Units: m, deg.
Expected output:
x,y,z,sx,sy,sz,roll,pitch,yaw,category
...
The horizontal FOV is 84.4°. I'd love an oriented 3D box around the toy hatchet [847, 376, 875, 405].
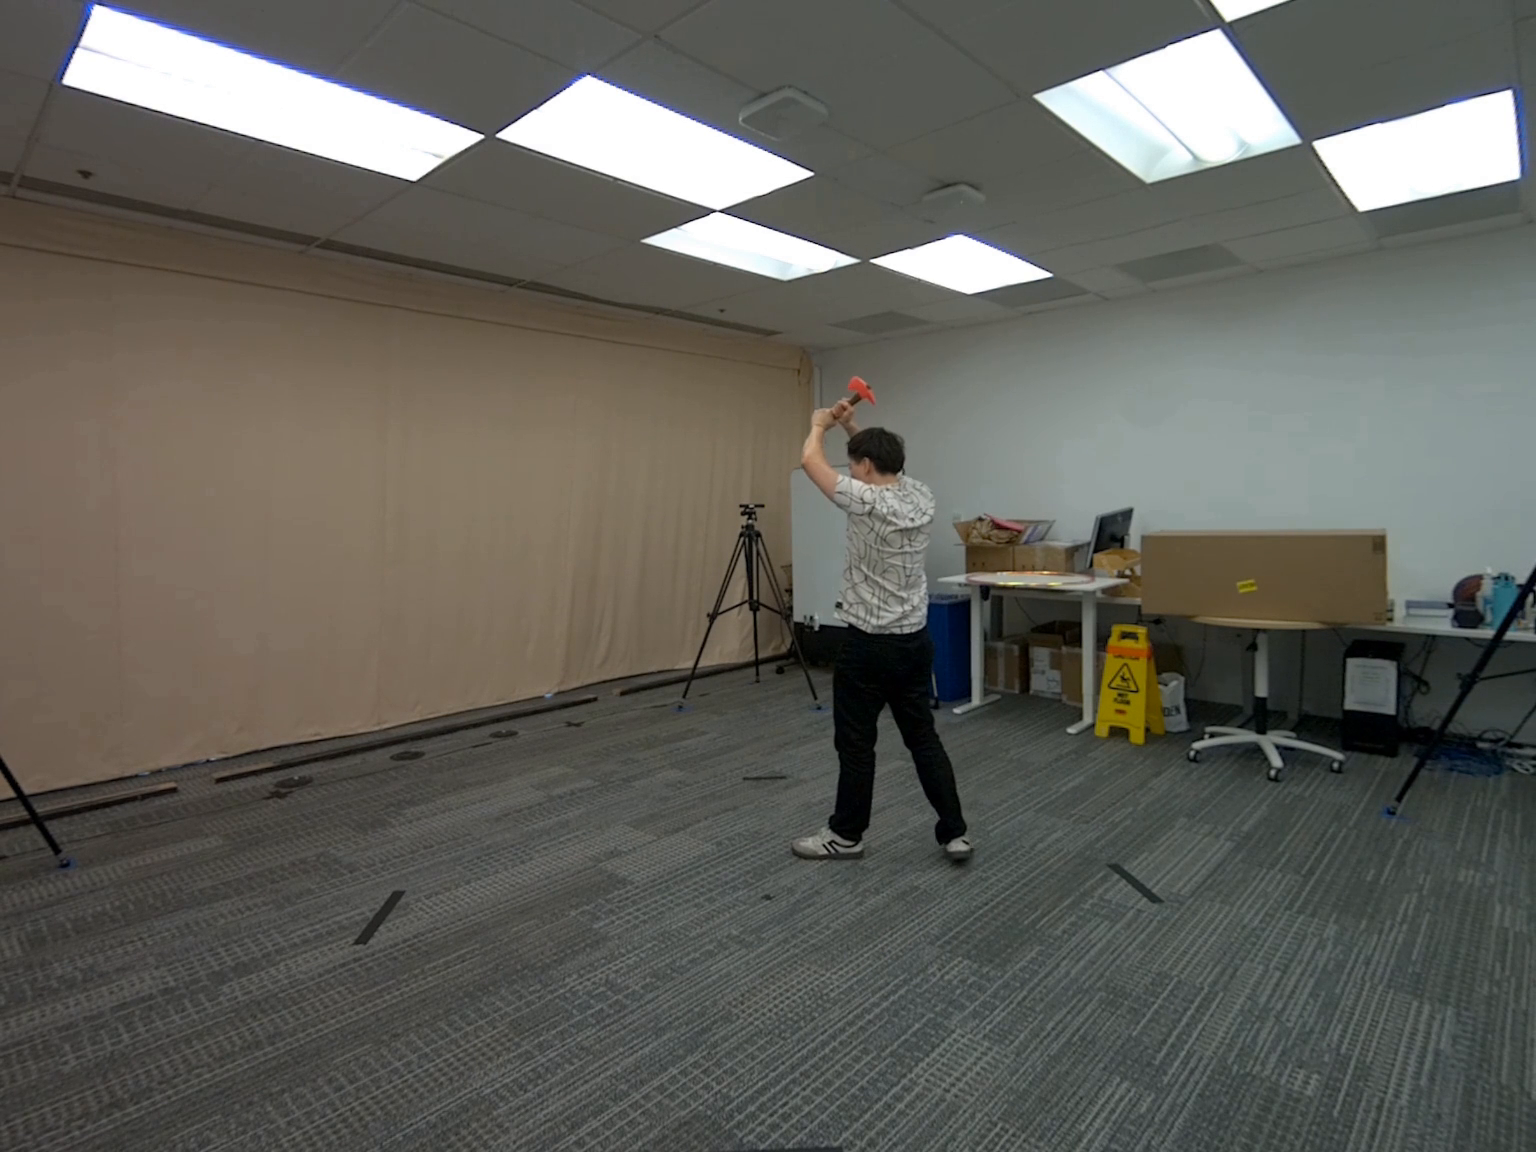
x,y,z,sx,sy,sz,roll,pitch,yaw,category
0.298,-0.708,3.362,0.277,0.130,0.029,-13,10,36,toy hatchet
